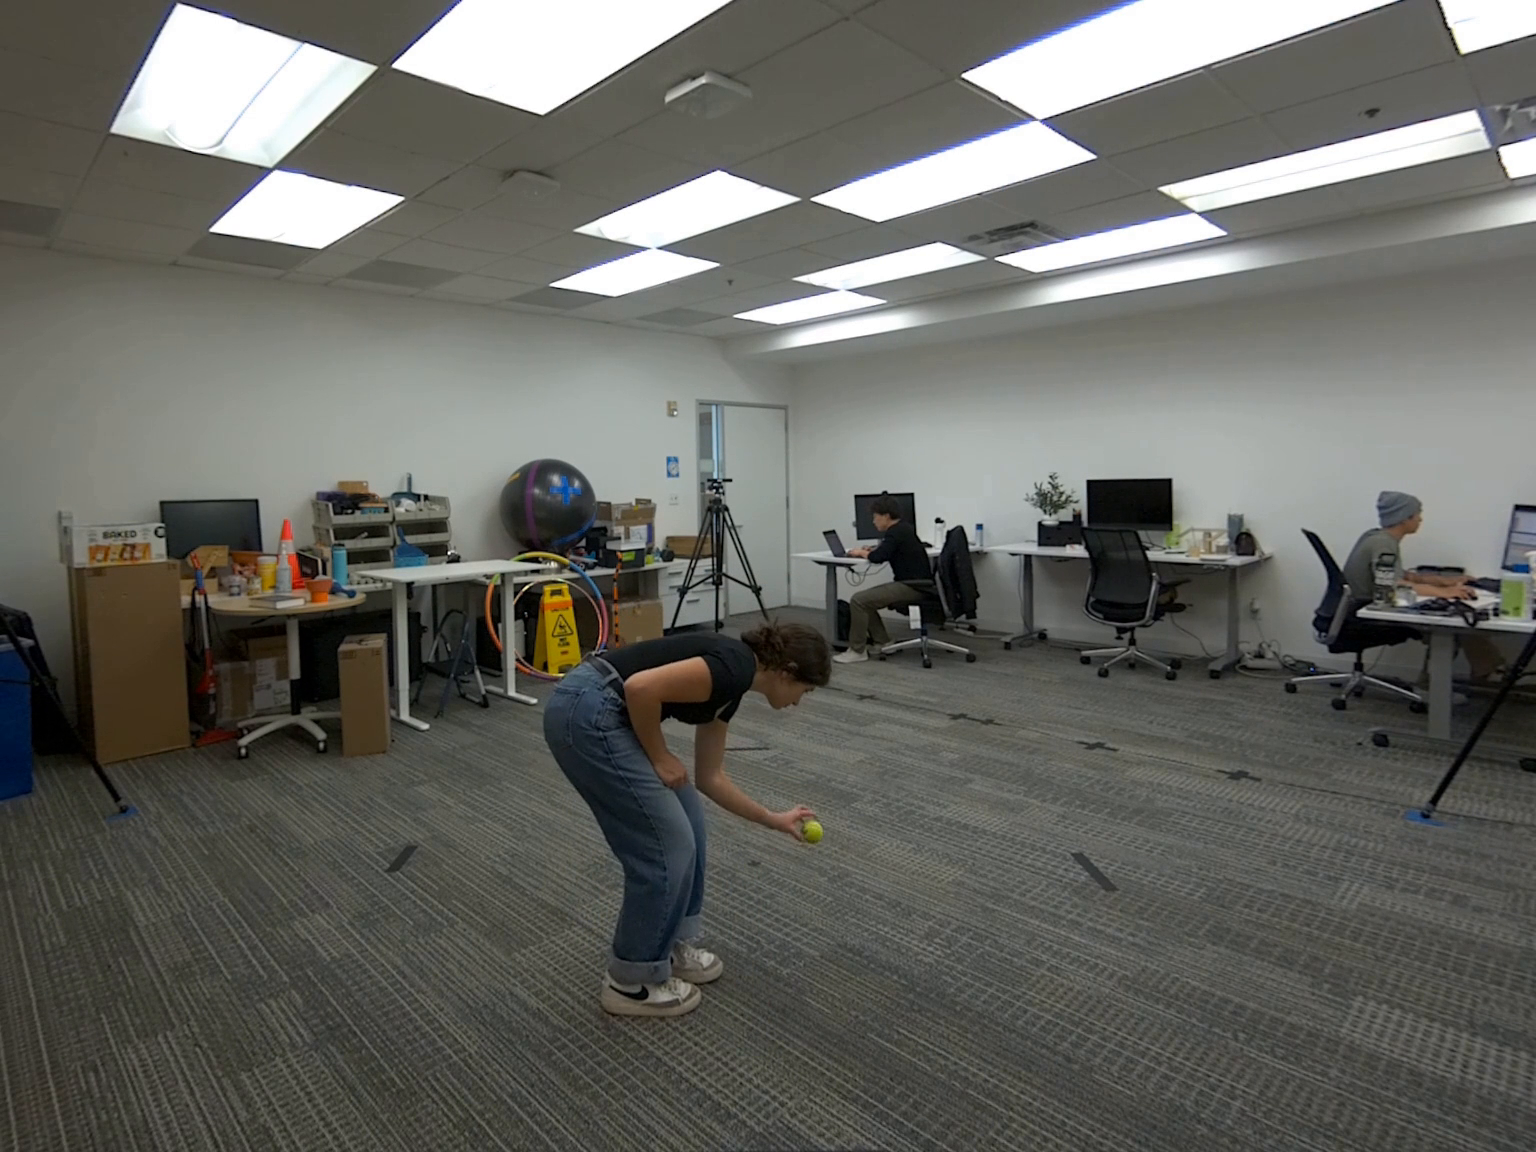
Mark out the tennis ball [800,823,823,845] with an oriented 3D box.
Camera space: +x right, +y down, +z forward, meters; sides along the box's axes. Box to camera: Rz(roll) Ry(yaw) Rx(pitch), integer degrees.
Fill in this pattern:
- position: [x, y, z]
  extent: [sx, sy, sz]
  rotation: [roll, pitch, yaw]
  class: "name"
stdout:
- position: [0.119, 0.813, 2.569]
  extent: [0.066, 0.066, 0.067]
  rotation: [-1, 5, -2]
  class: "tennis ball"
